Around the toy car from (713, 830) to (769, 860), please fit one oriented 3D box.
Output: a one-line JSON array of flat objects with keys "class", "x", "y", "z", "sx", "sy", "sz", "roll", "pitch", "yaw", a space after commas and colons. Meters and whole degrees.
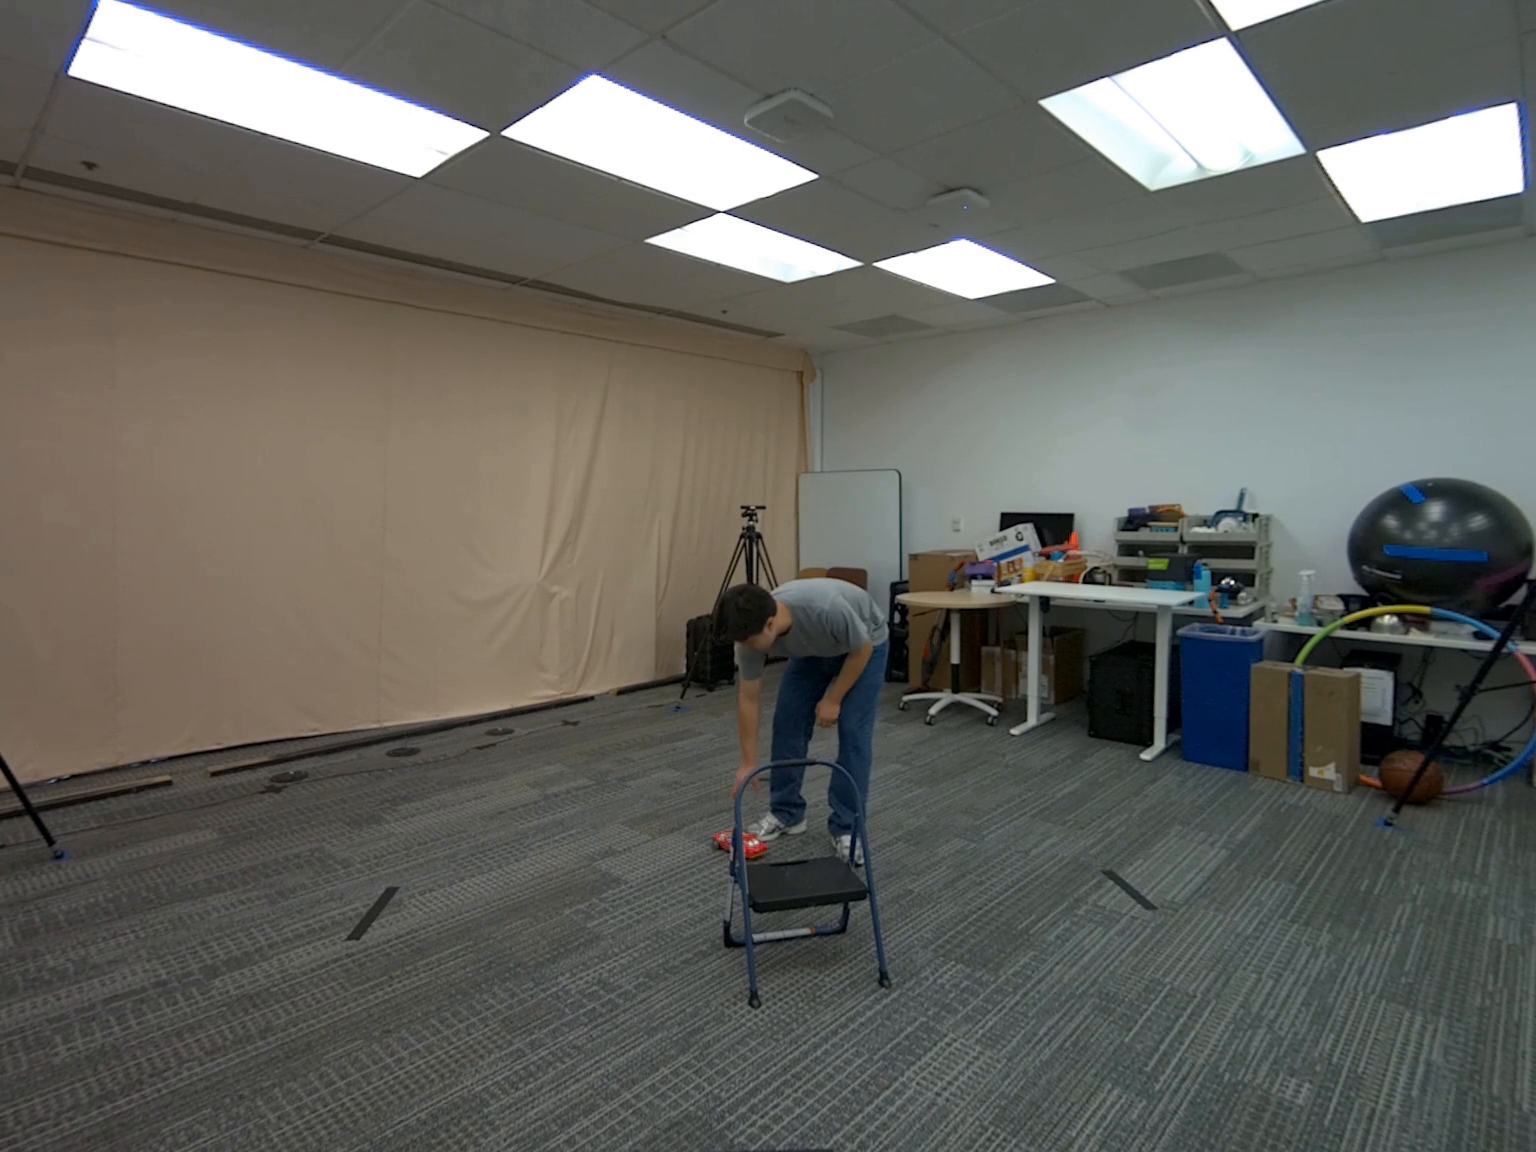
[{"class": "toy car", "x": -0.109, "y": 1.083, "z": 3.375, "sx": 0.126, "sy": 0.083, "sz": 0.261, "roll": -5, "pitch": -5, "yaw": -41}]
